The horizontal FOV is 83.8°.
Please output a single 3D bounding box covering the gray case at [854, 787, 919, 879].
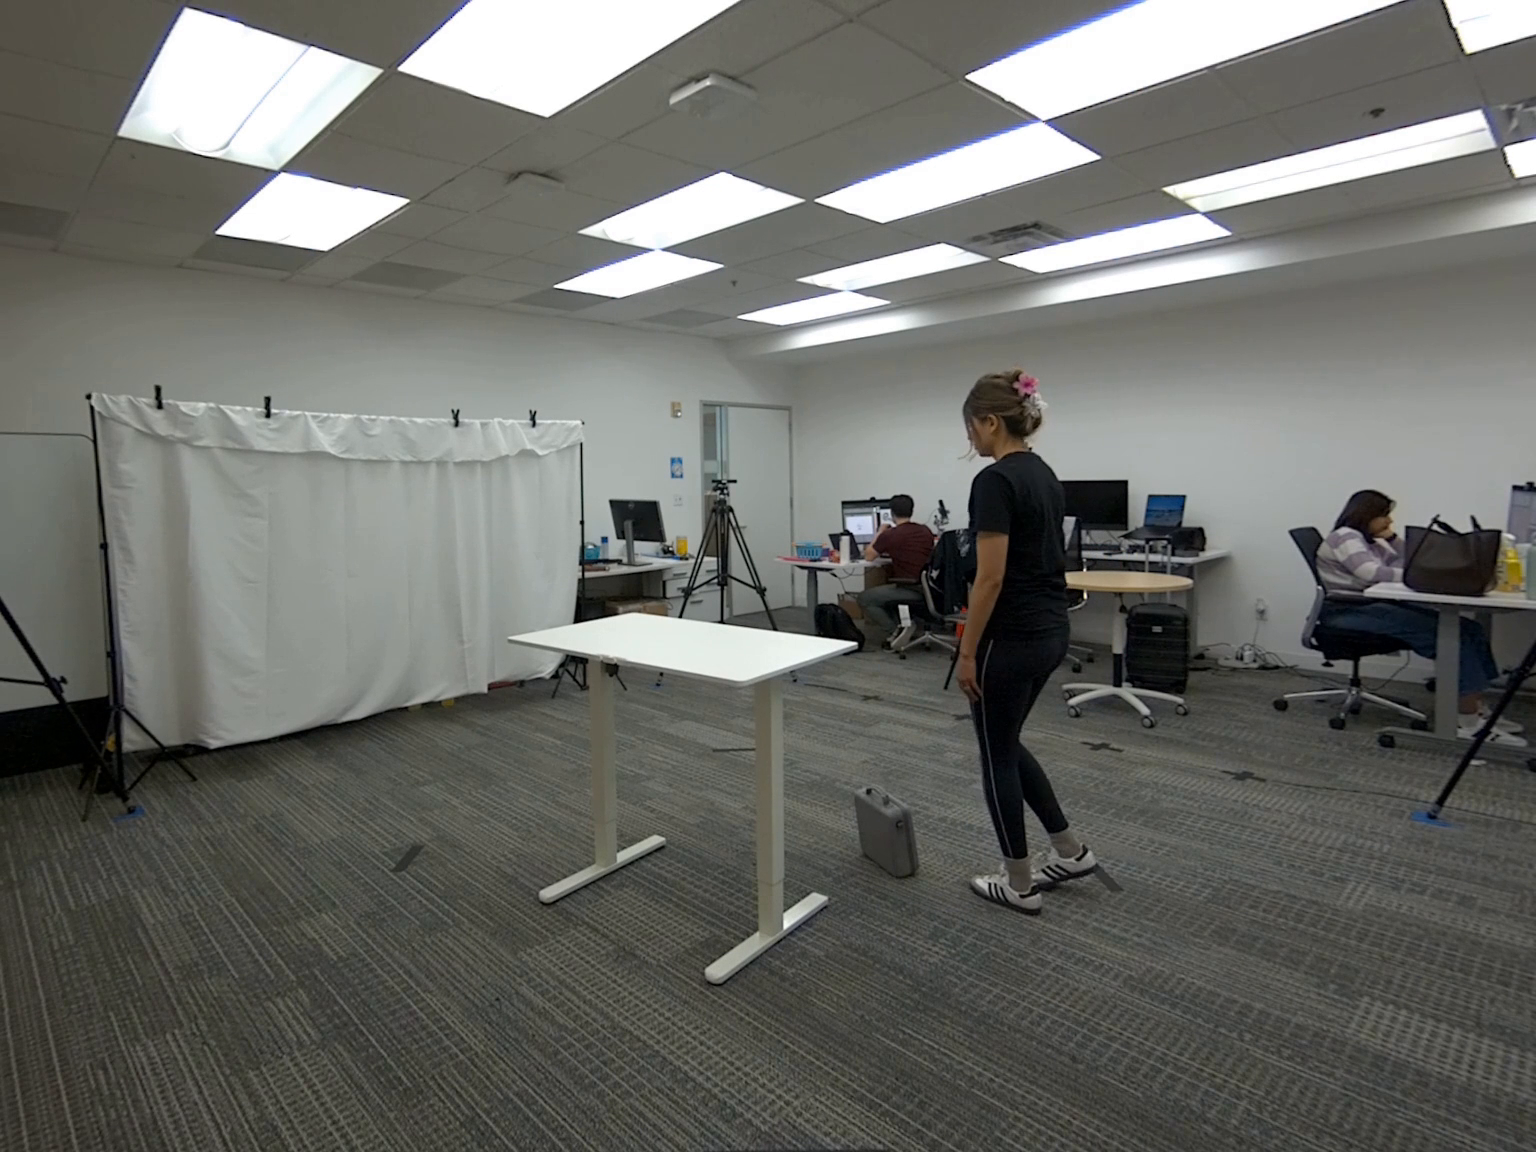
[{"bbox_3d":[0.427,0.906,3.075,0.103,0.259,0.263,-11,8,-22],"label":"gray case"}]
